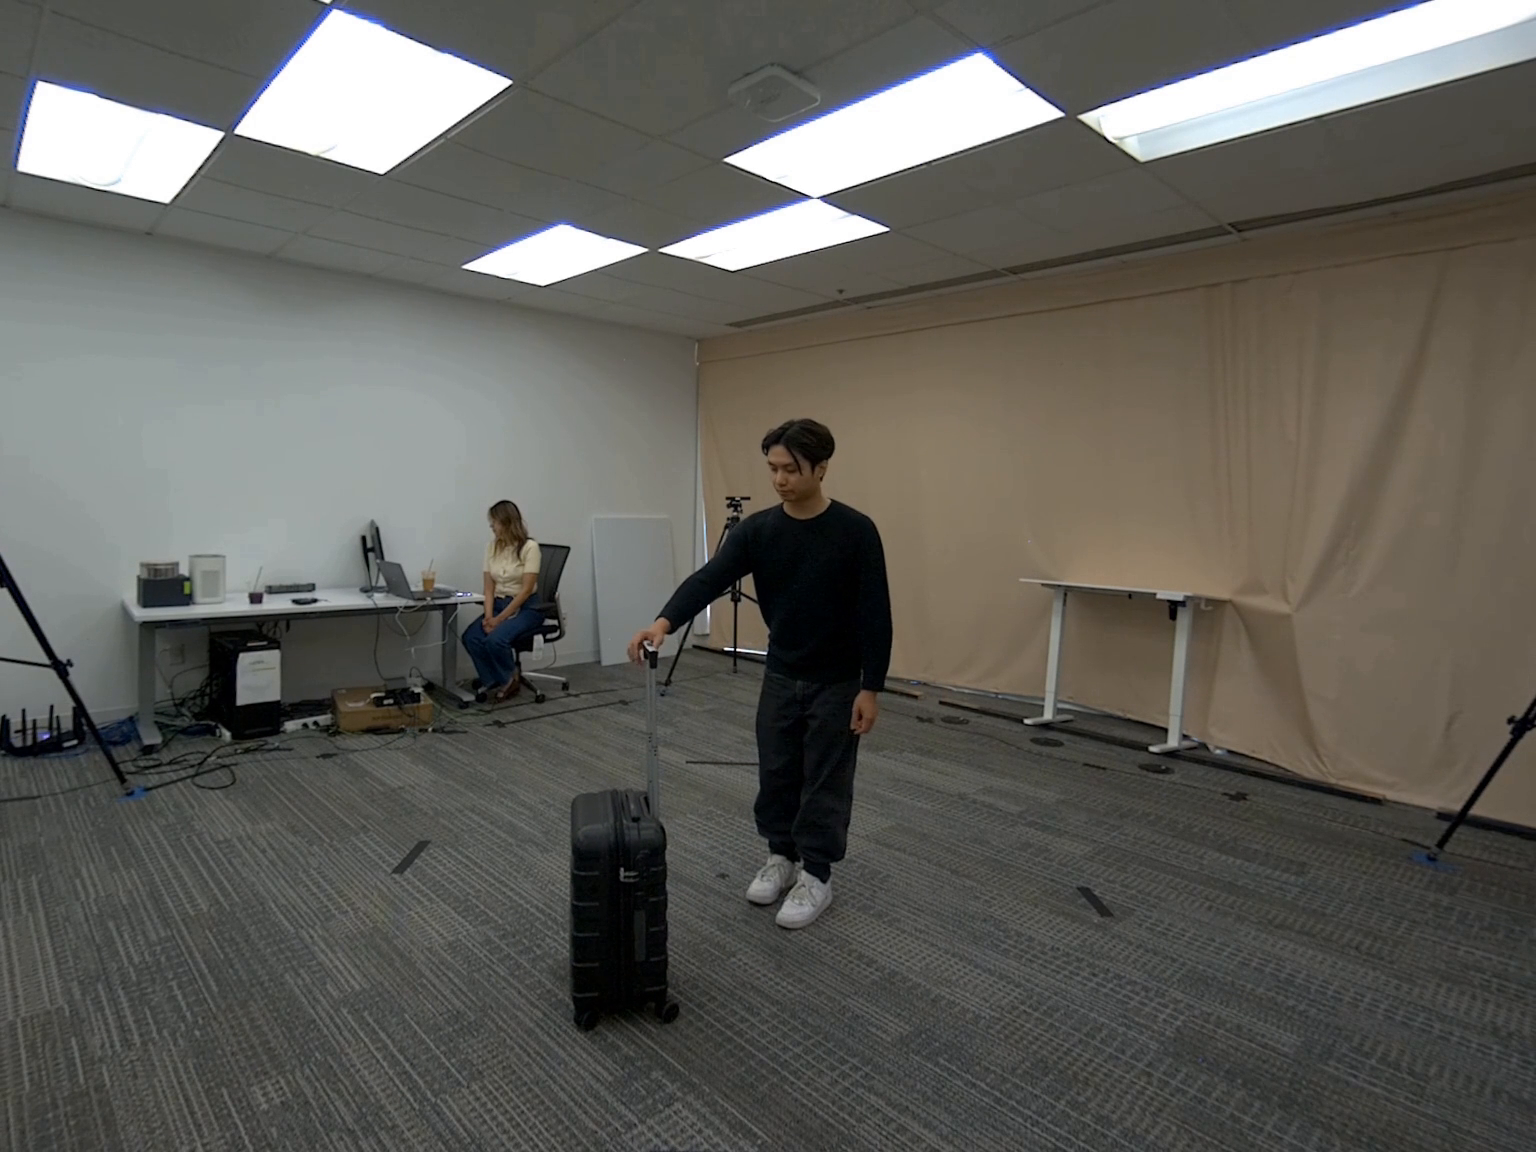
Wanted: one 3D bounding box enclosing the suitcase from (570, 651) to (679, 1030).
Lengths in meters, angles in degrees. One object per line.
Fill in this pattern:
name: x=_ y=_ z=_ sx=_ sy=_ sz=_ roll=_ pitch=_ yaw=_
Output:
suitcase: x=-0.429 y=0.699 z=2.313 sx=0.255 sy=0.975 sz=0.389 roll=-2 pitch=5 yaw=-13
